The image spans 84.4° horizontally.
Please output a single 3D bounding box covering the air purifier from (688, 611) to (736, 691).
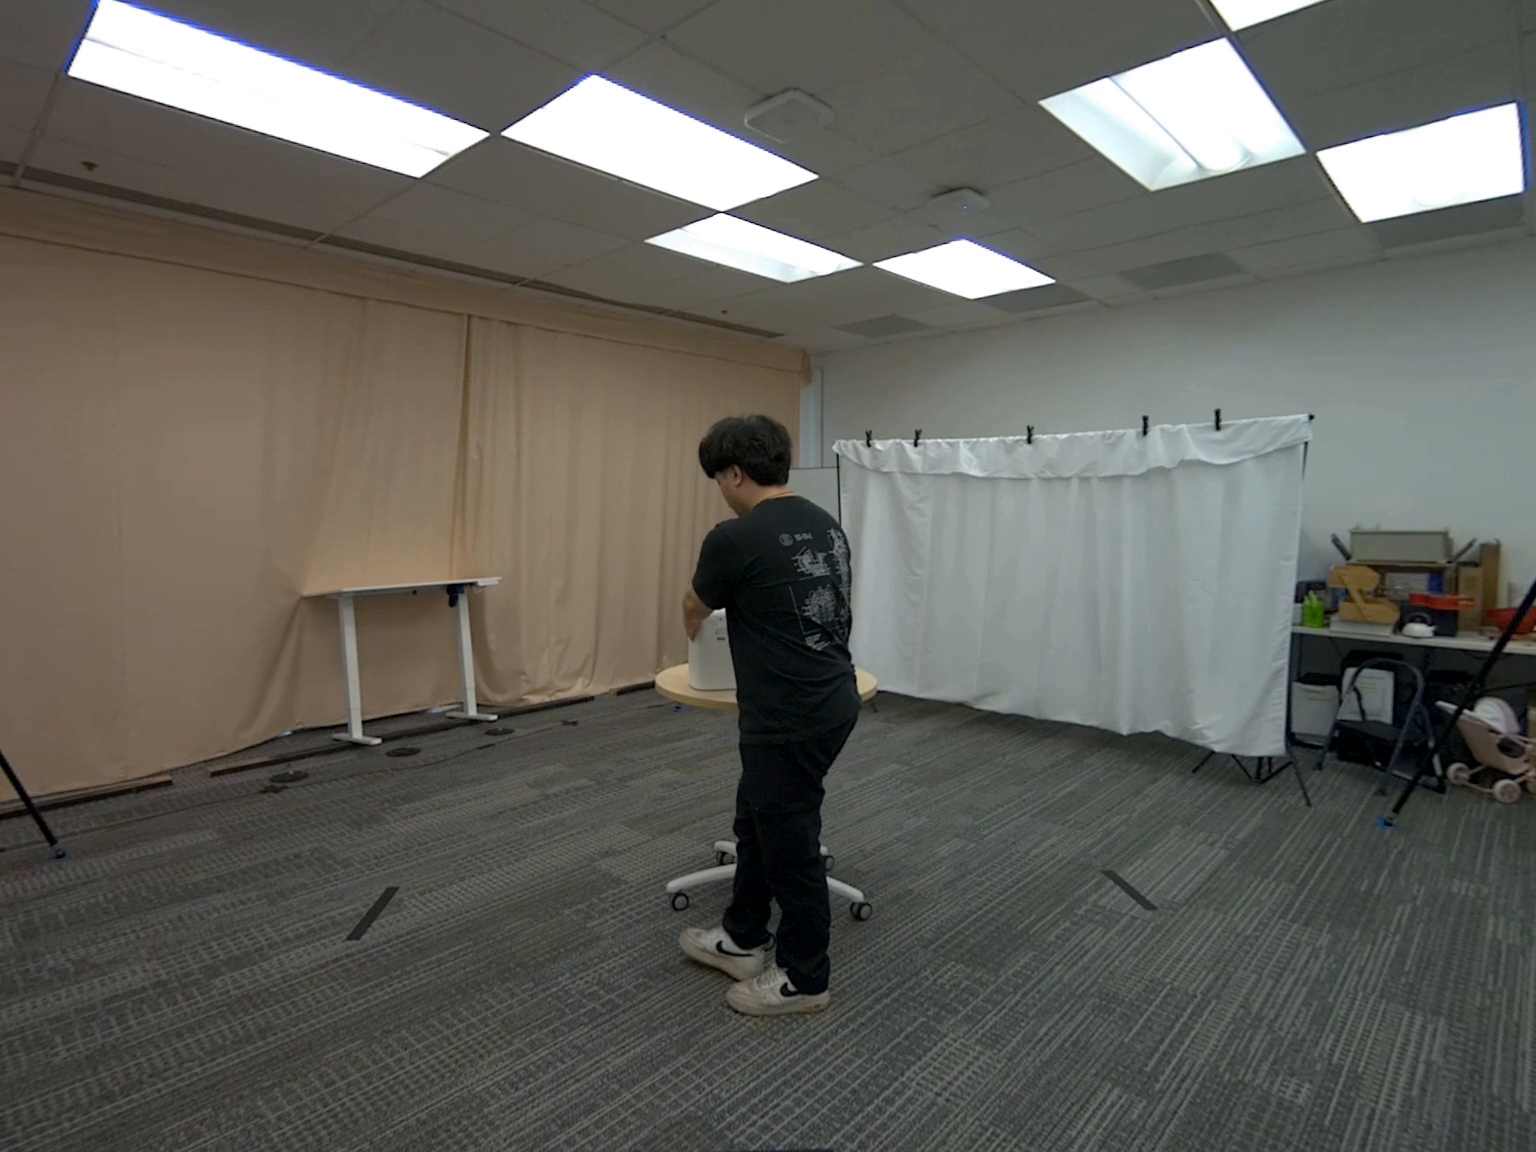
[{"bbox_3d":[-0.169,0.236,2.801,0.169,0.265,0.173,-2,3,-9],"label":"air purifier"}]
